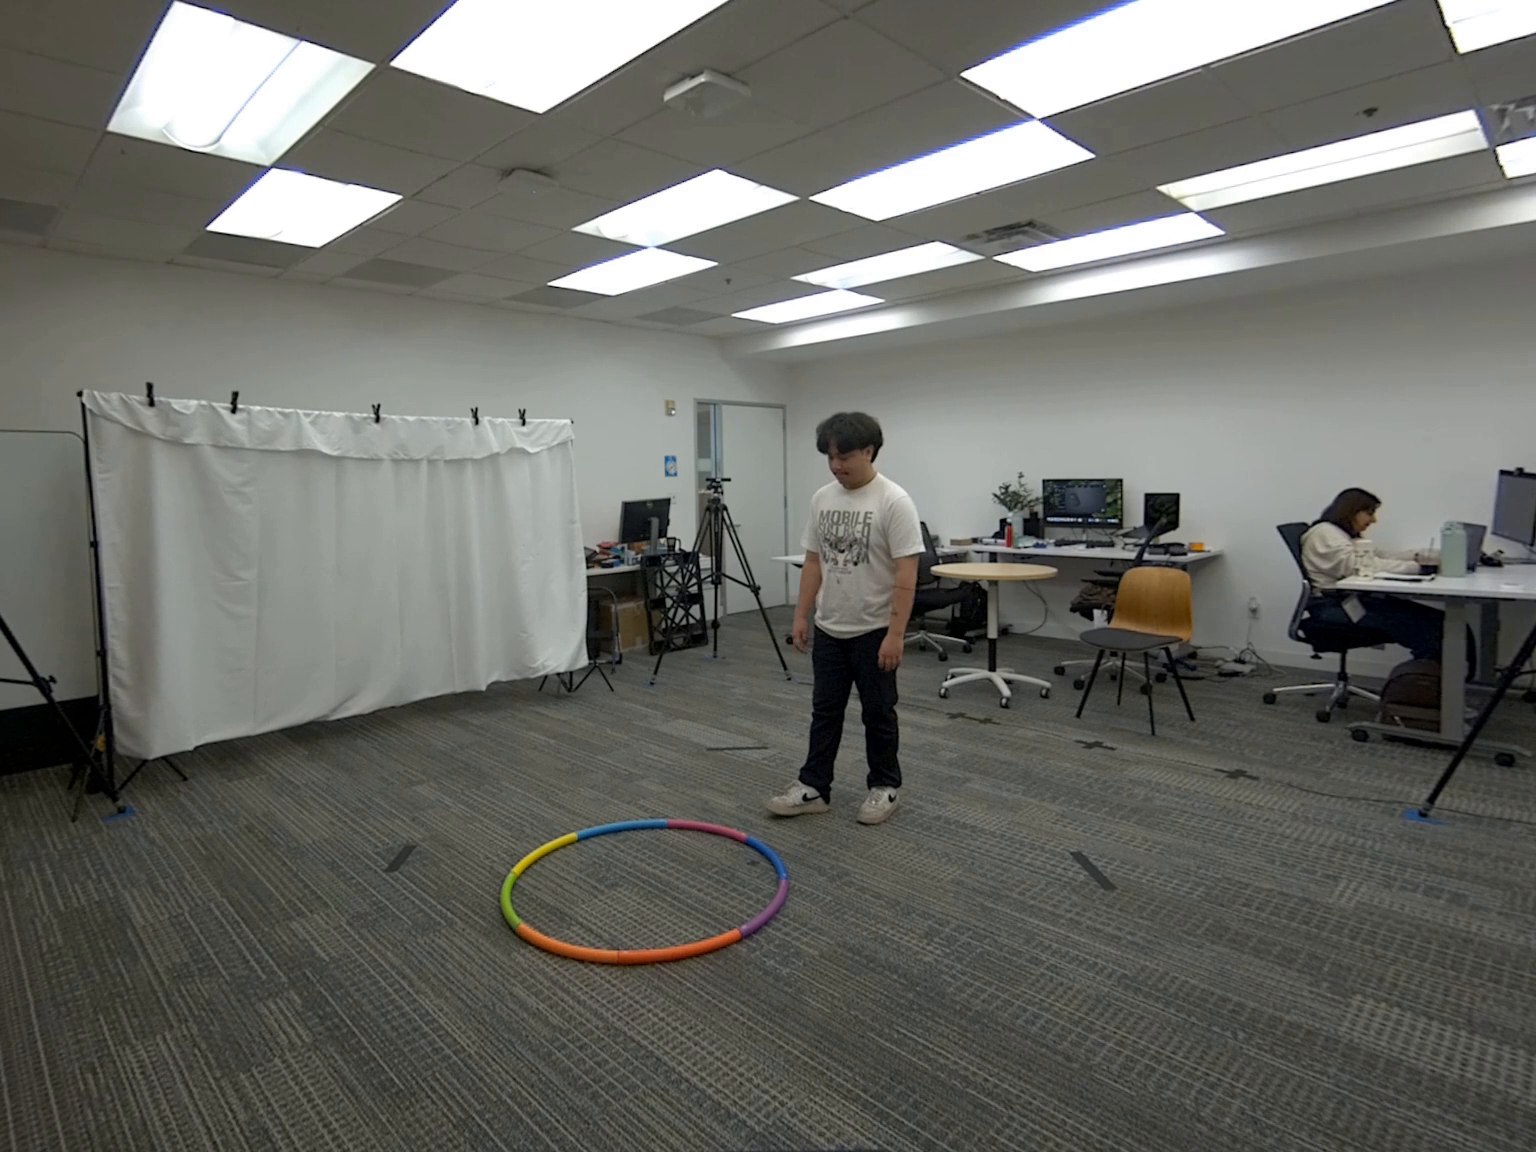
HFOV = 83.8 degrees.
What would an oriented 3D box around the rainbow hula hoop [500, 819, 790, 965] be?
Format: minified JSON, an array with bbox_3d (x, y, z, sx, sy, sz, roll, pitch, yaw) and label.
[{"bbox_3d":[-0.418,1.040,2.952,0.985,0.051,0.991,-1,6,-2],"label":"rainbow hula hoop"}]
